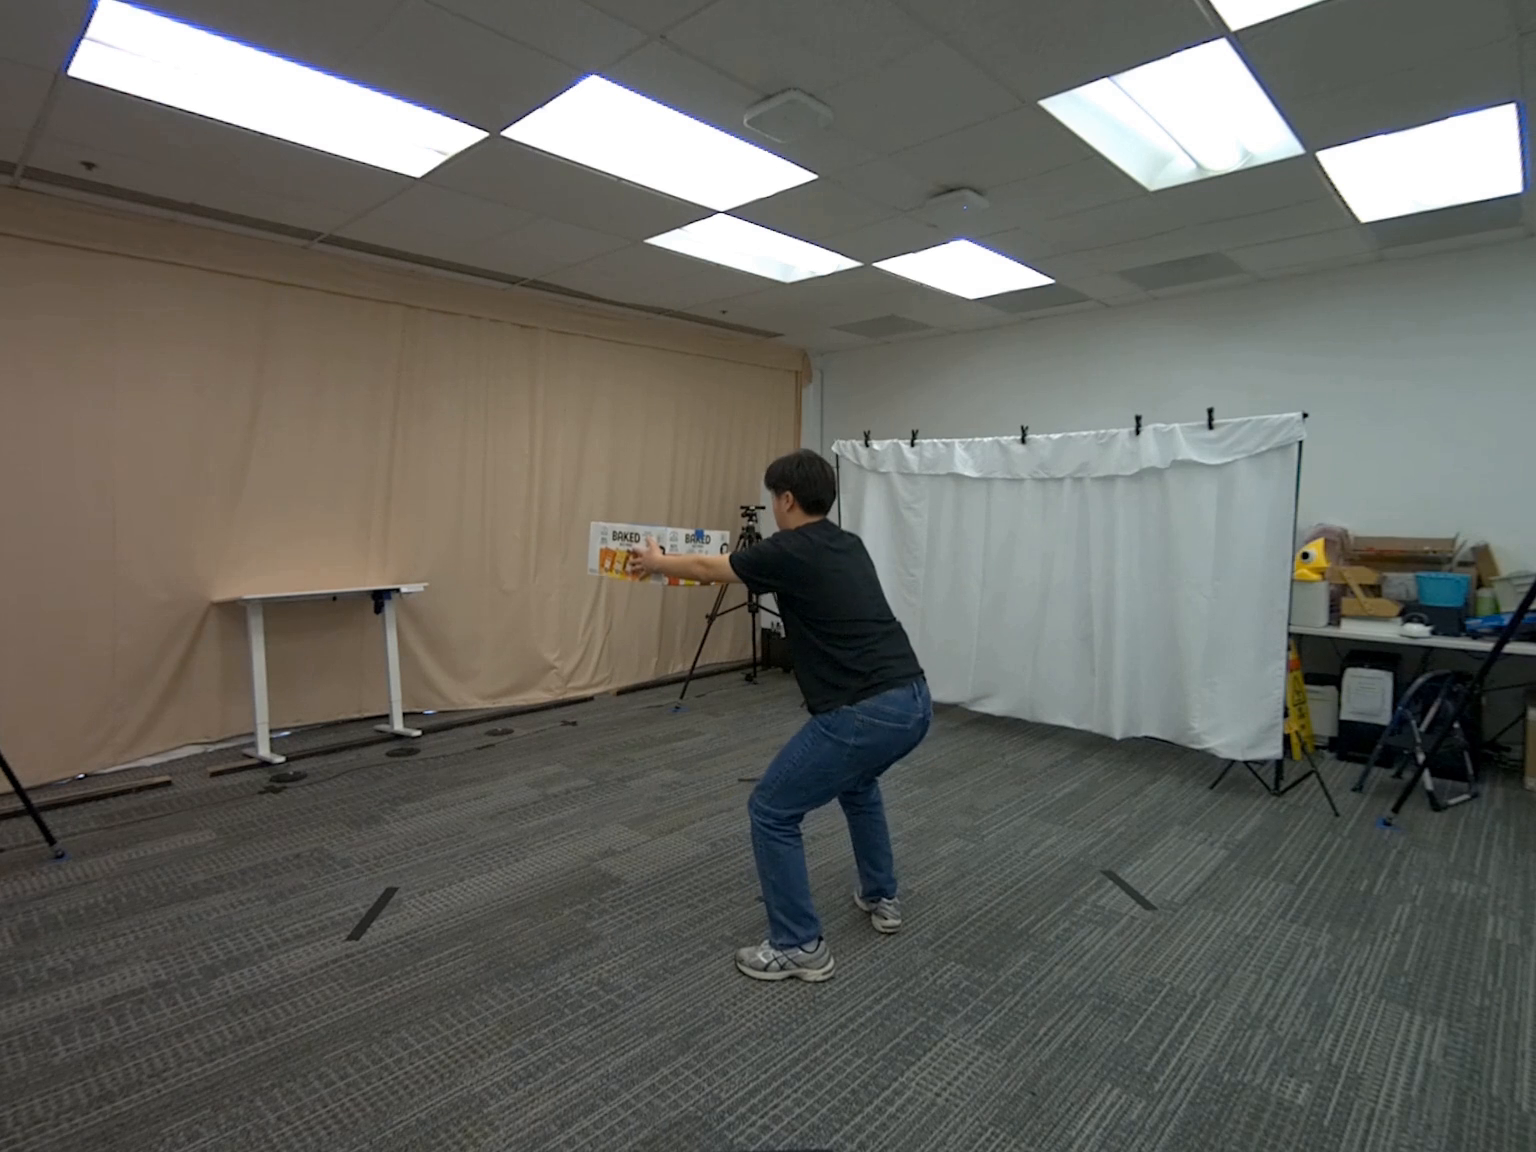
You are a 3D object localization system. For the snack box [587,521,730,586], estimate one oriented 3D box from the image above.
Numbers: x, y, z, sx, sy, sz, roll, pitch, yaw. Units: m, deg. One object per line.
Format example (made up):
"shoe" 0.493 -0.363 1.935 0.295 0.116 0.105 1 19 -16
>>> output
"snack box" -0.411 -0.076 3.173 0.419 0.205 0.329 6 3 39
